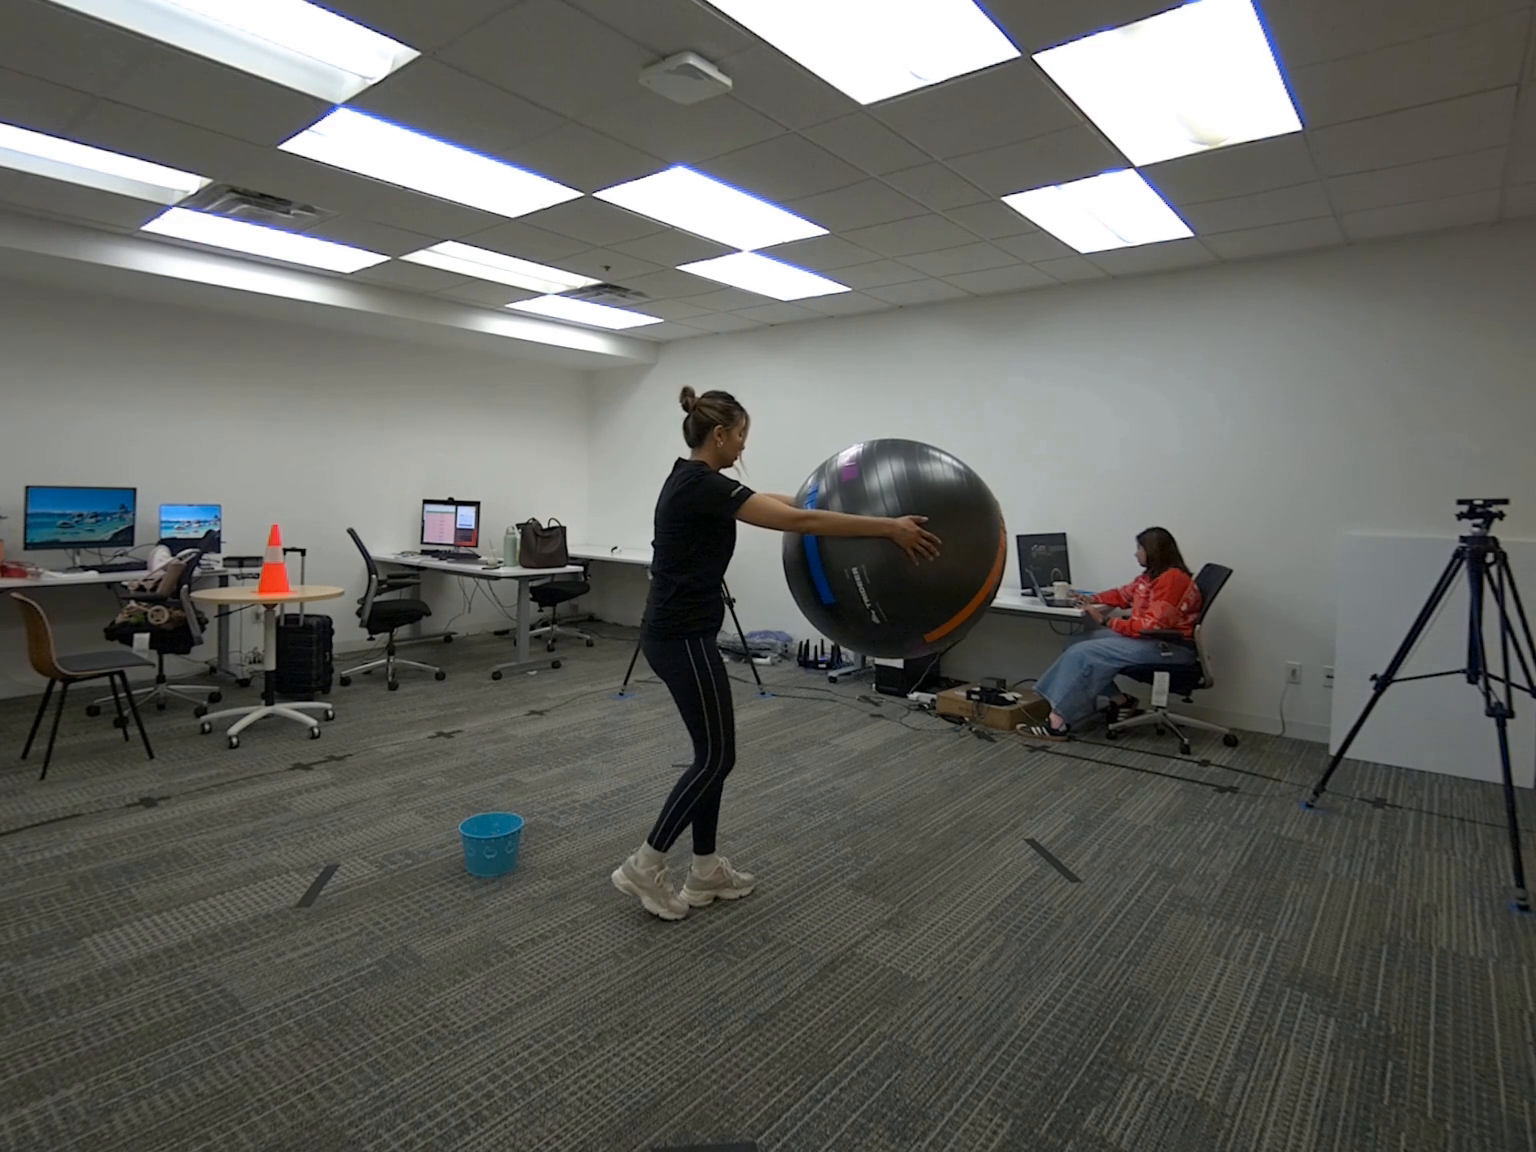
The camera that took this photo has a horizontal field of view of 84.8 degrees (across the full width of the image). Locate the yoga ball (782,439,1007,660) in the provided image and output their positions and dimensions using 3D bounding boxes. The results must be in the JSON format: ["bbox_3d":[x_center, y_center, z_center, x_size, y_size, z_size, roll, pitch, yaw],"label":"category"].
[{"bbox_3d":[0.423,-0.082,2.938,0.757,0.756,0.762,1,4,-2],"label":"yoga ball"}]
